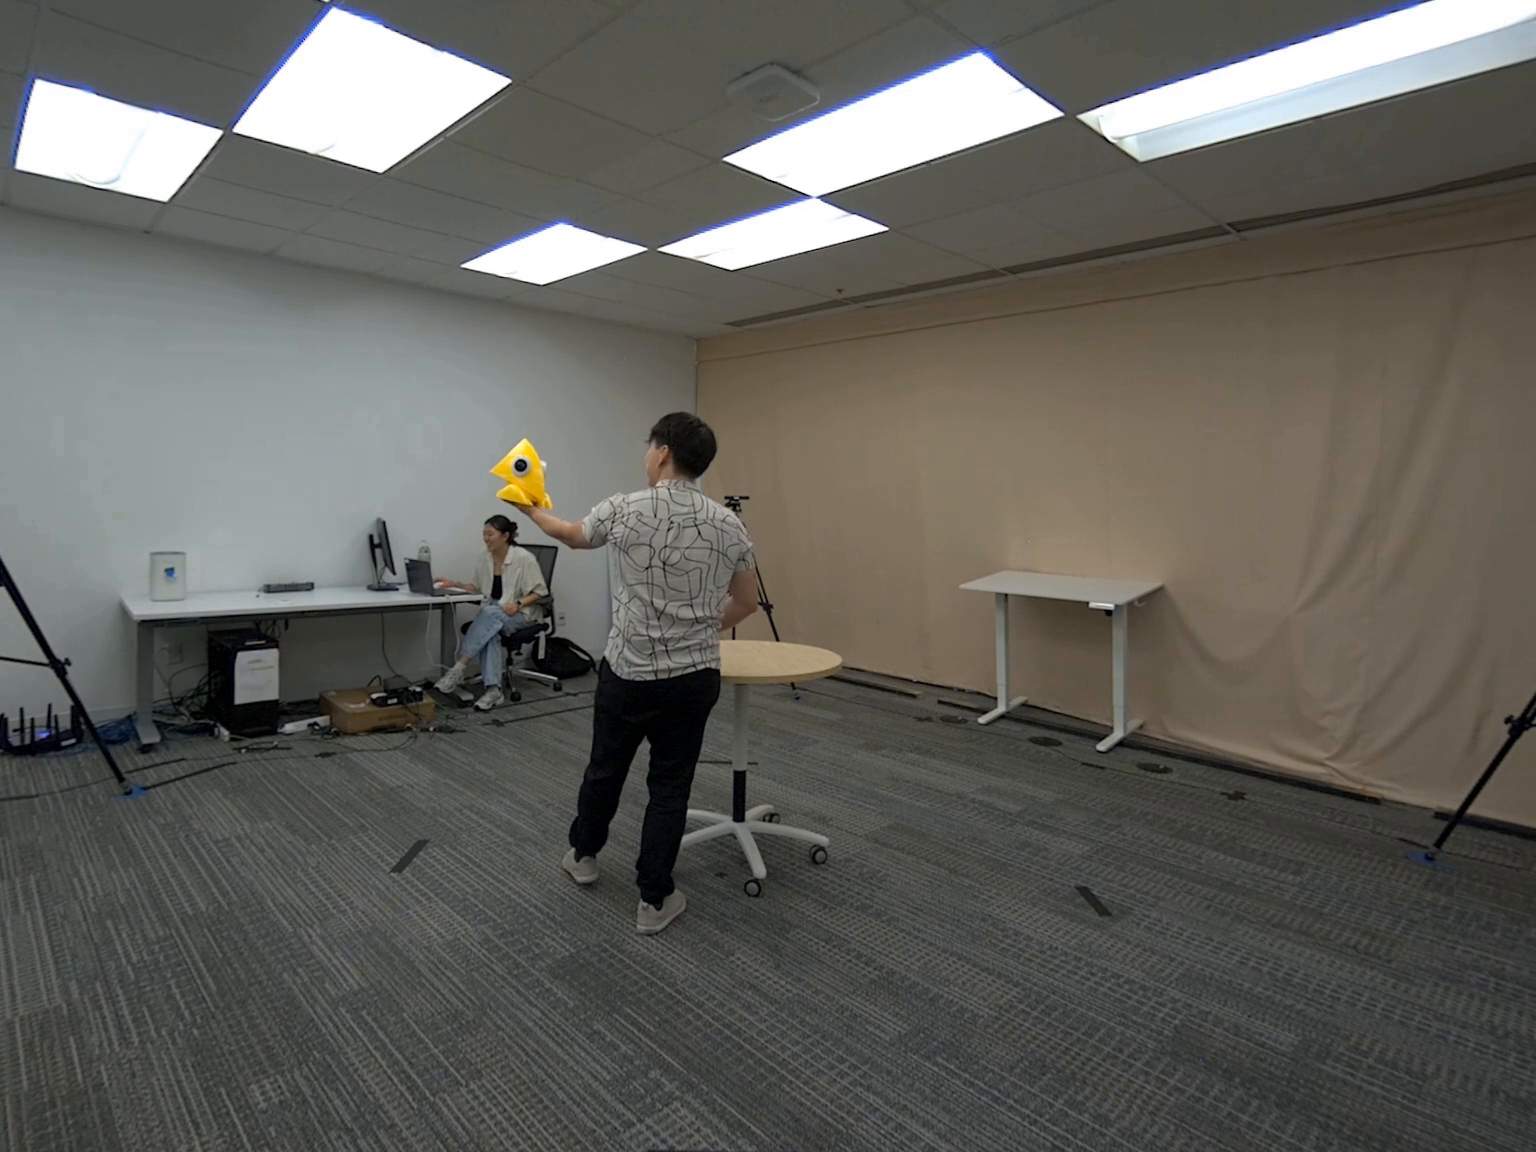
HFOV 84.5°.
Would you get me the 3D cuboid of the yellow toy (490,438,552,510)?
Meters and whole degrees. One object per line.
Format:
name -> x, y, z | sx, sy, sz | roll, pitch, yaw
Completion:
yellow toy -> -0.883, -0.382, 3.055 | 0.198, 0.230, 0.200 | 15, 3, 27
